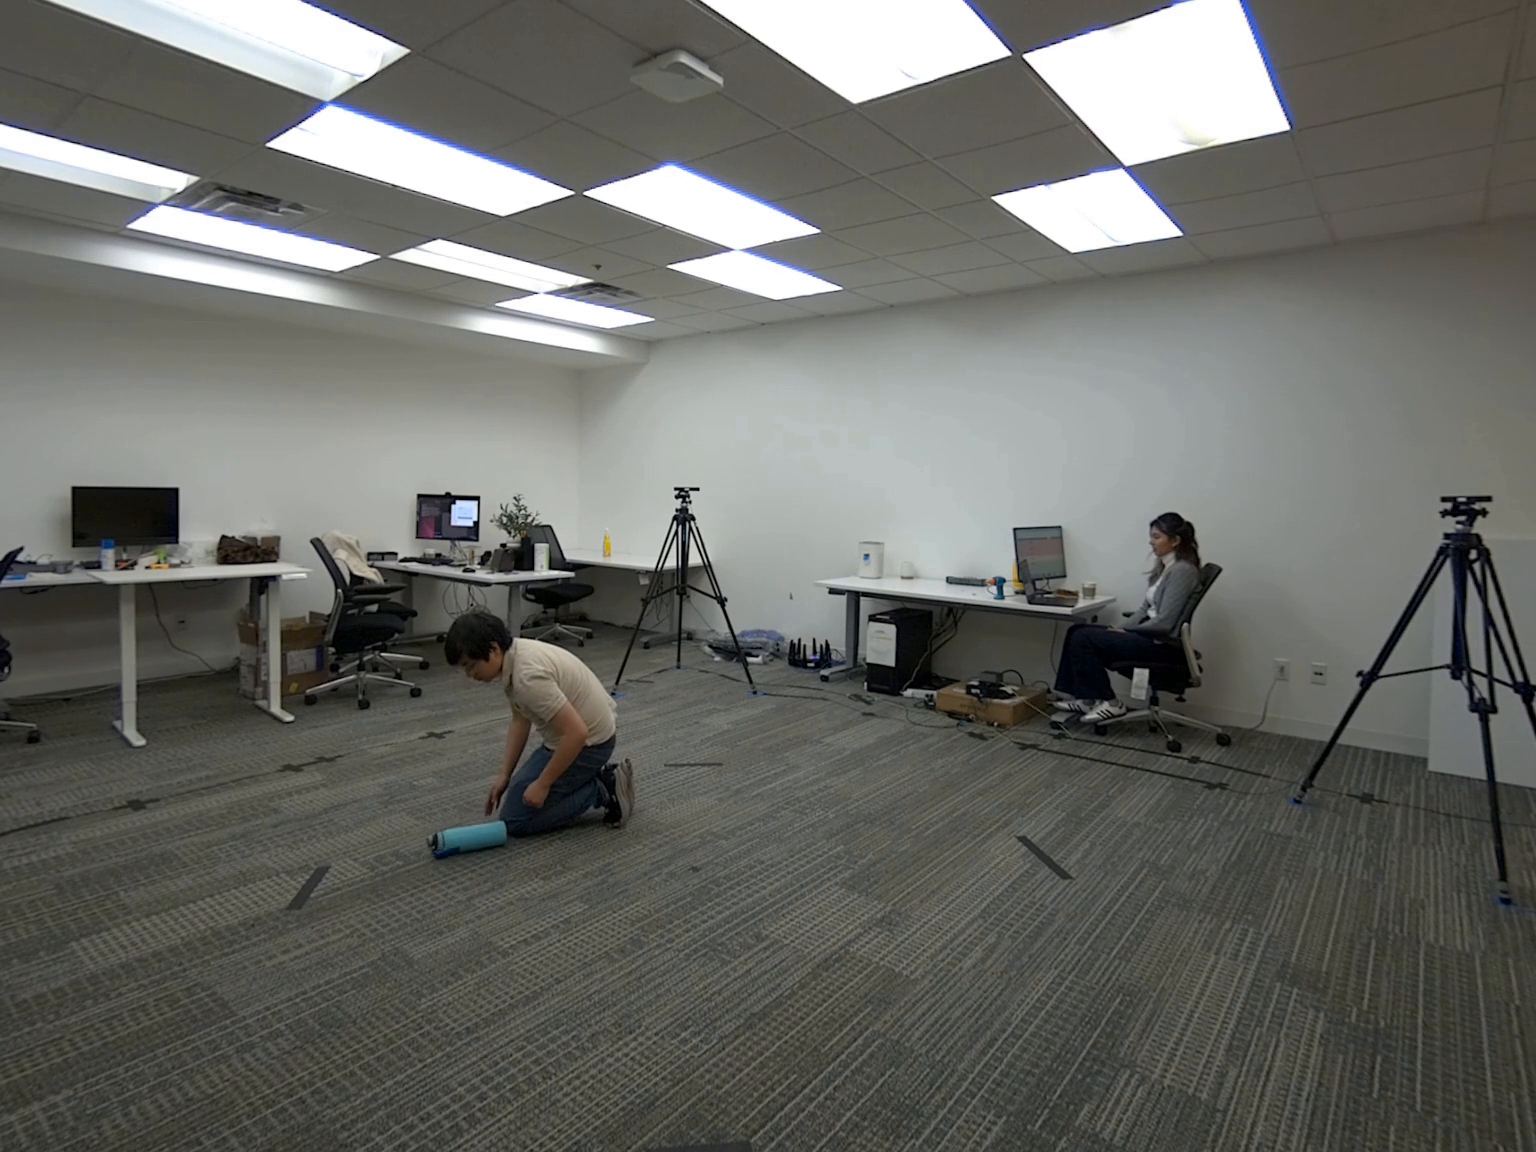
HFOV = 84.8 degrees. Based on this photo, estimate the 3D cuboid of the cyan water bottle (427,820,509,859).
[{"bbox_3d":[-1.149,0.990,3.227,0.276,0.092,0.095,-2,5,-29],"label":"cyan water bottle"}]
